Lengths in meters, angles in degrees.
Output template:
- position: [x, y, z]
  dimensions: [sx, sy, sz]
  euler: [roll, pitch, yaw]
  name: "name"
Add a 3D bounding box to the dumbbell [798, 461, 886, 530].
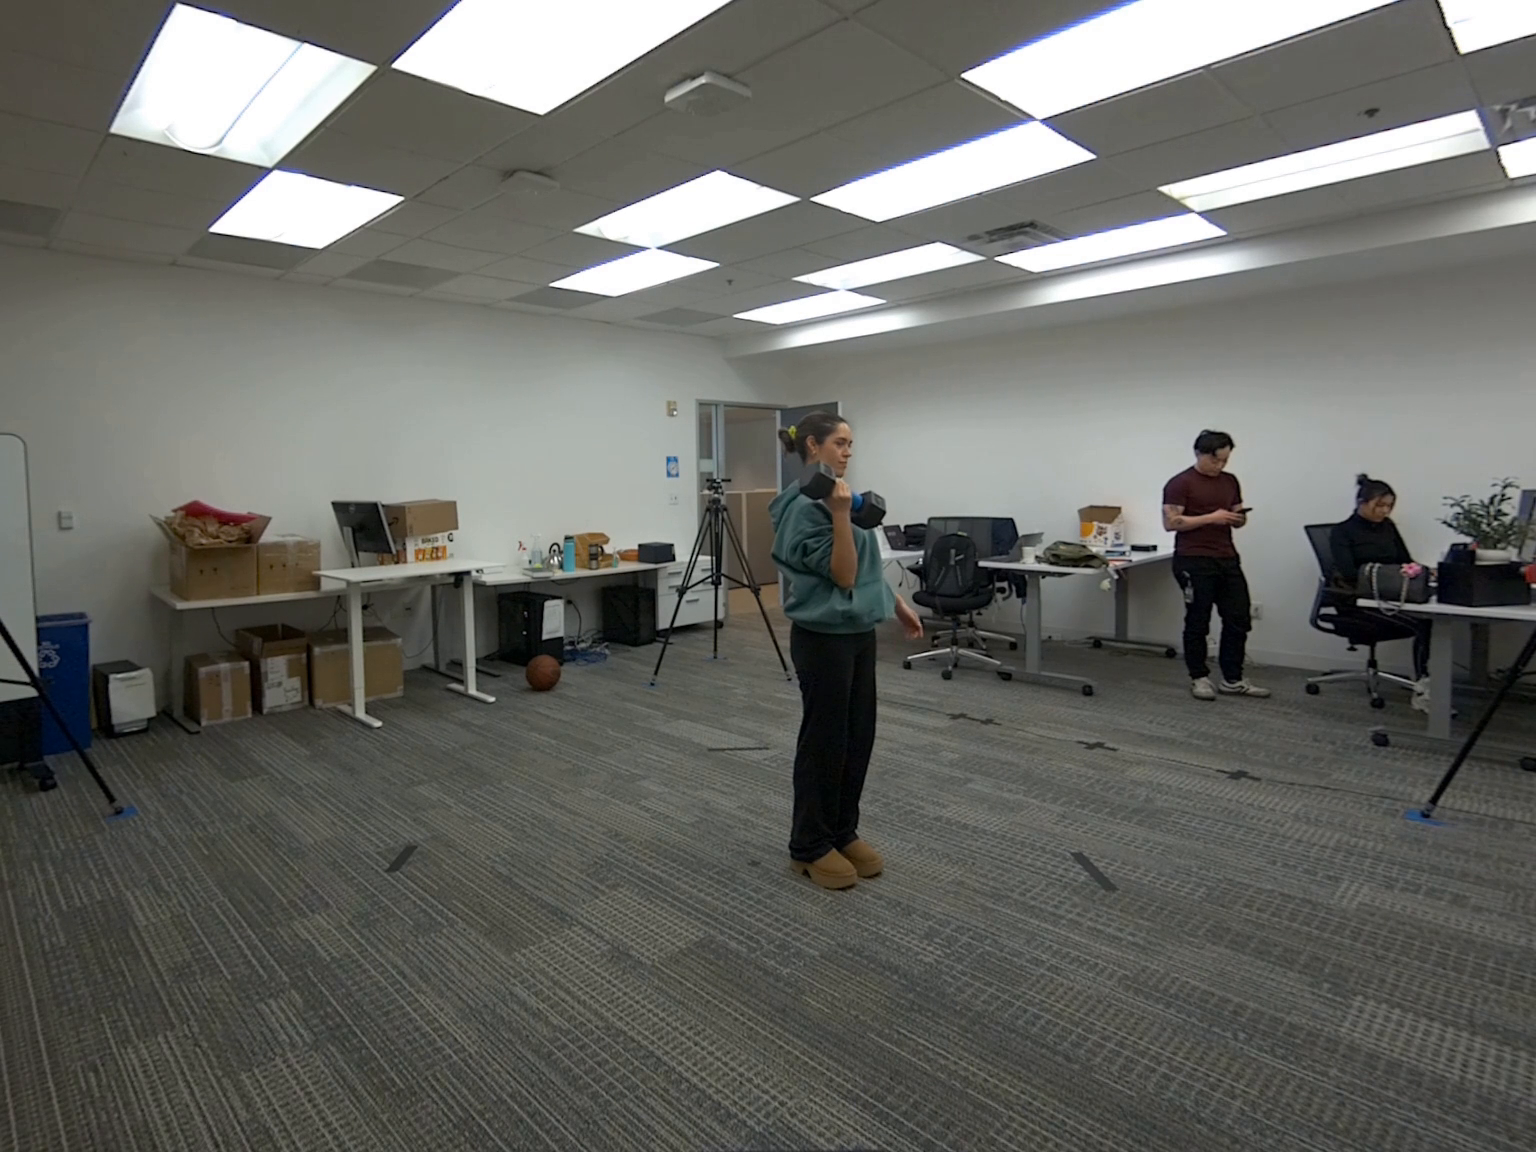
- position: [0.235, -0.258, 2.754]
  dimensions: [0.285, 0.126, 0.109]
  euler: [30, -52, -23]
  name: "dumbbell"
